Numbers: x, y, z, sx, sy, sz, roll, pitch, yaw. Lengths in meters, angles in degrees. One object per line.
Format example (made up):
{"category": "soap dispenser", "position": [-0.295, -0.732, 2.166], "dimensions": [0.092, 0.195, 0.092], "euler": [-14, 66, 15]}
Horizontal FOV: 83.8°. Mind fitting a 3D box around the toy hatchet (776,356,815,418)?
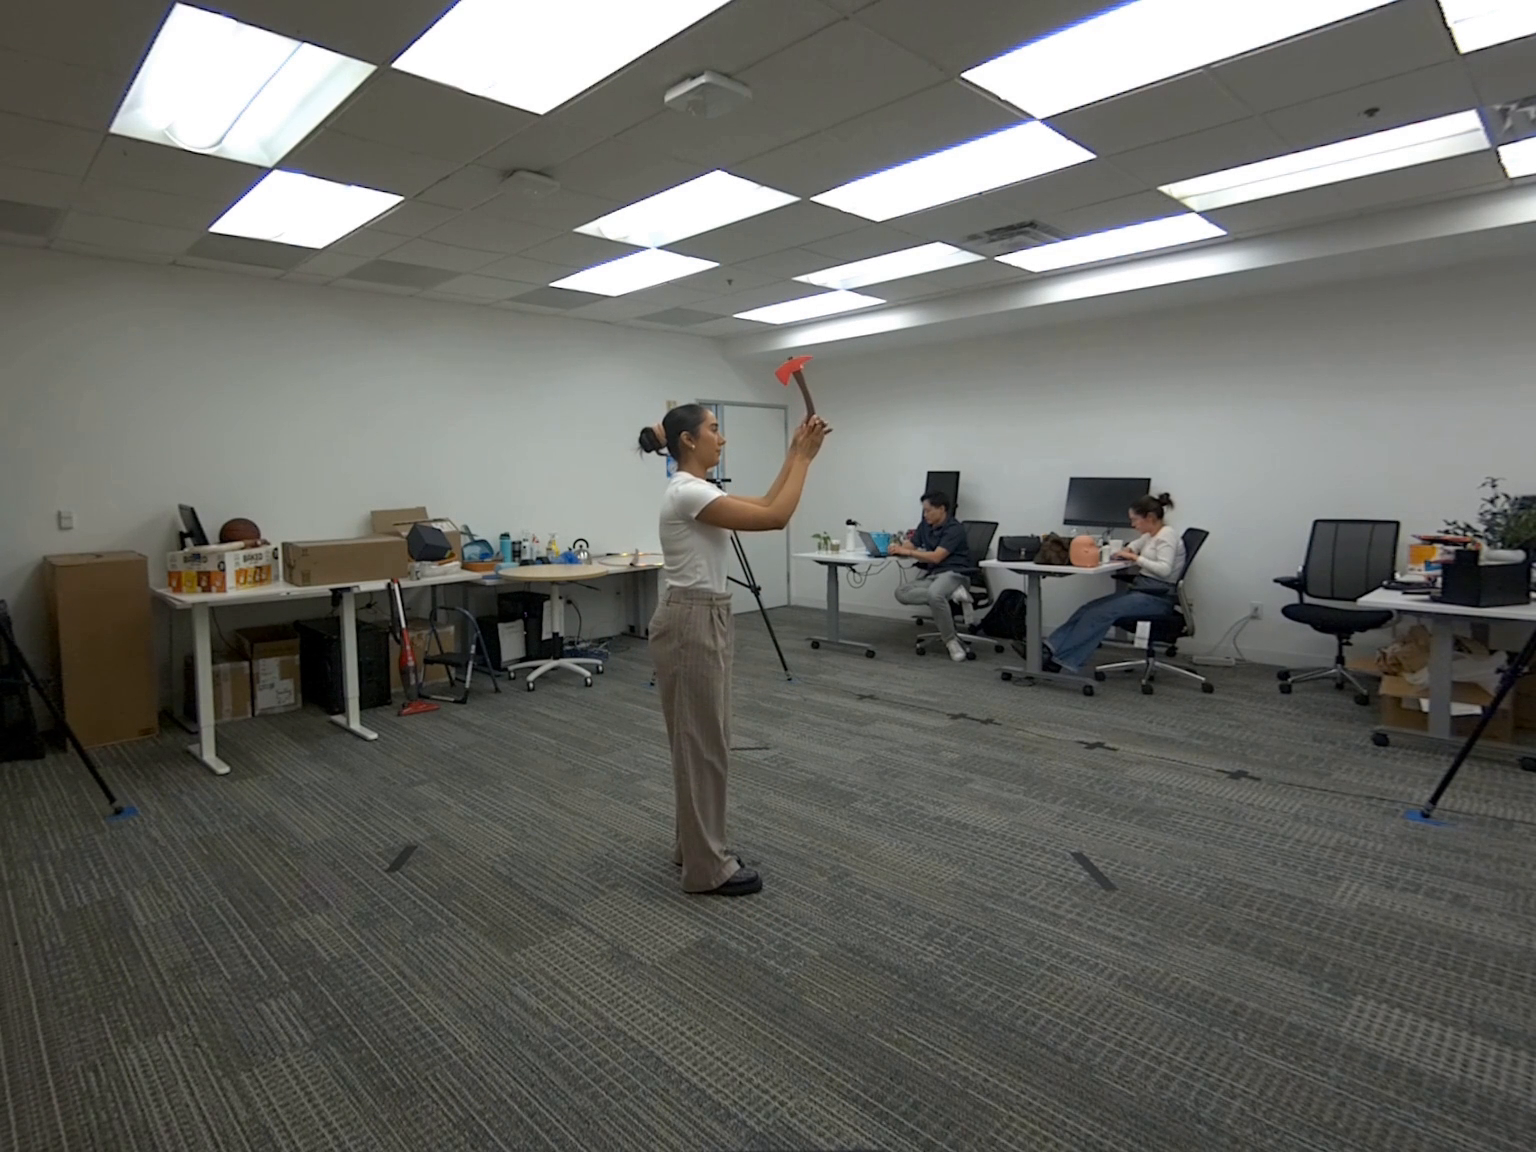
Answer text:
{"category": "toy hatchet", "position": [0.096, -0.600, 2.861], "dimensions": [0.133, 0.268, 0.029], "euler": [-3, 6, 18]}
